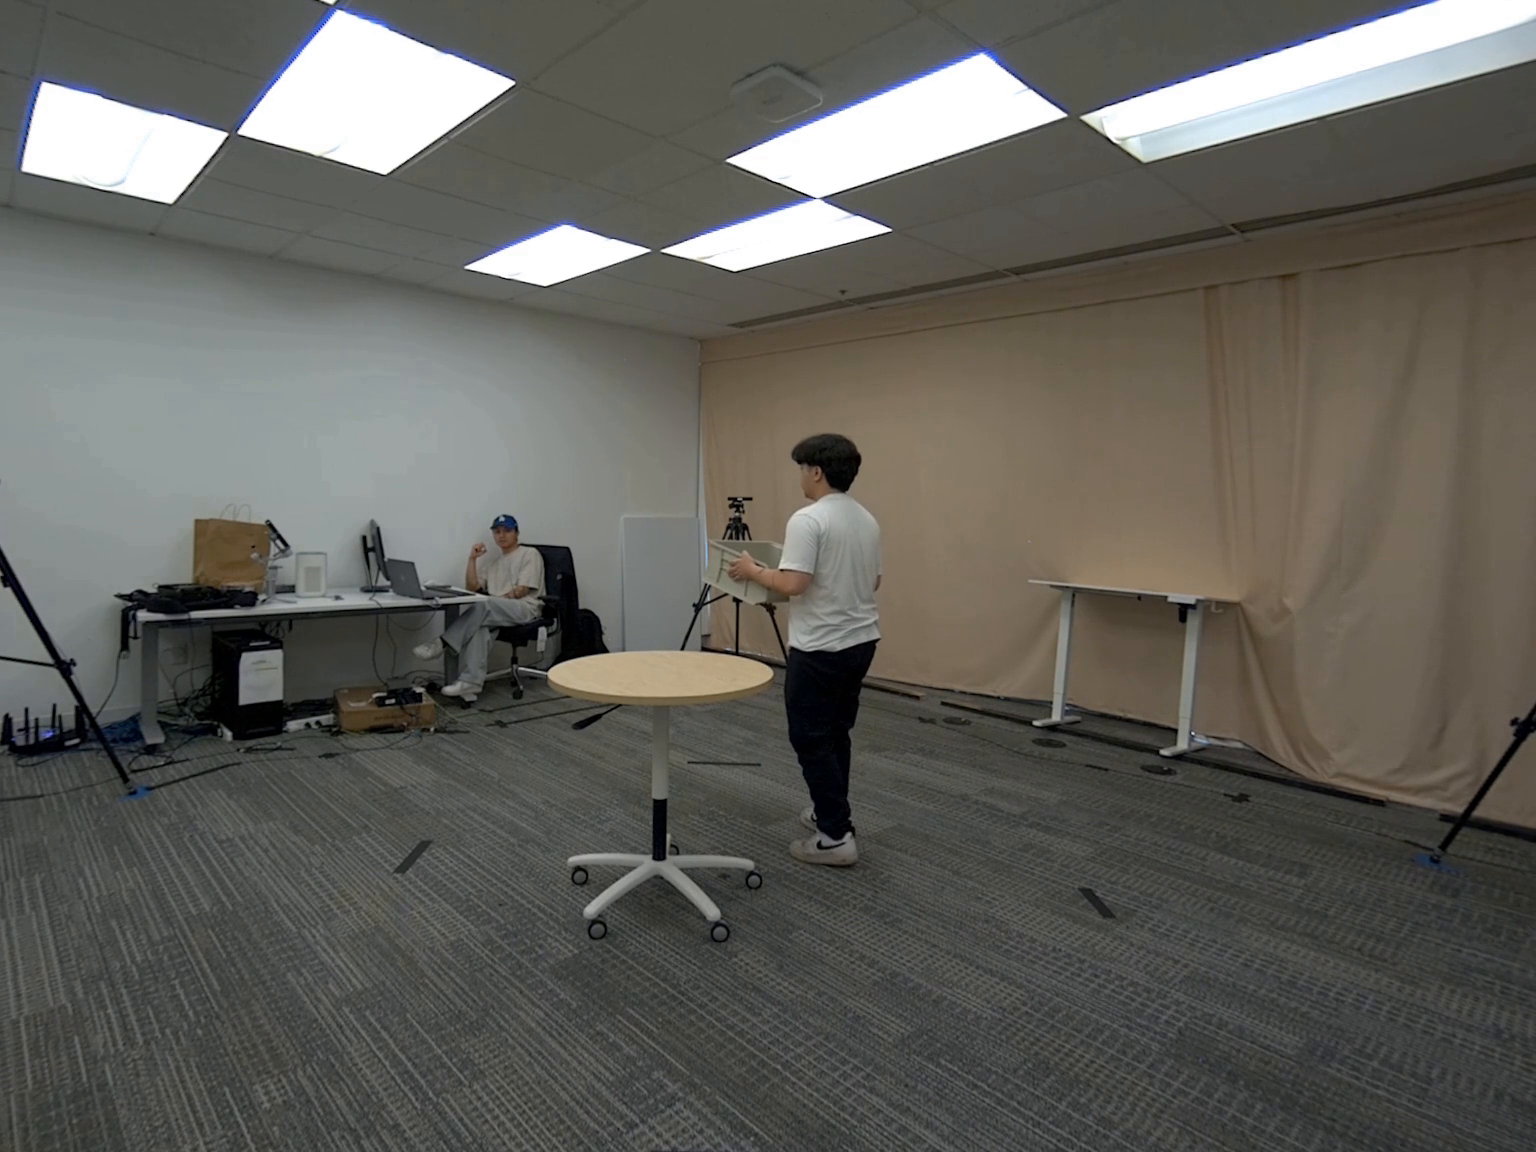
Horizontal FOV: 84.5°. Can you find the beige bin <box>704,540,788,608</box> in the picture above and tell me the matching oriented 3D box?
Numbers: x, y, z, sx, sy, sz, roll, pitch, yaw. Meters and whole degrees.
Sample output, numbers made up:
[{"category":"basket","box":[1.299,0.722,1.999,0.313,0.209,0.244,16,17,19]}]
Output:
[{"category":"beige bin","box":[-0.009,-0.009,3.611,0.388,0.188,0.413,21,16,39]}]
